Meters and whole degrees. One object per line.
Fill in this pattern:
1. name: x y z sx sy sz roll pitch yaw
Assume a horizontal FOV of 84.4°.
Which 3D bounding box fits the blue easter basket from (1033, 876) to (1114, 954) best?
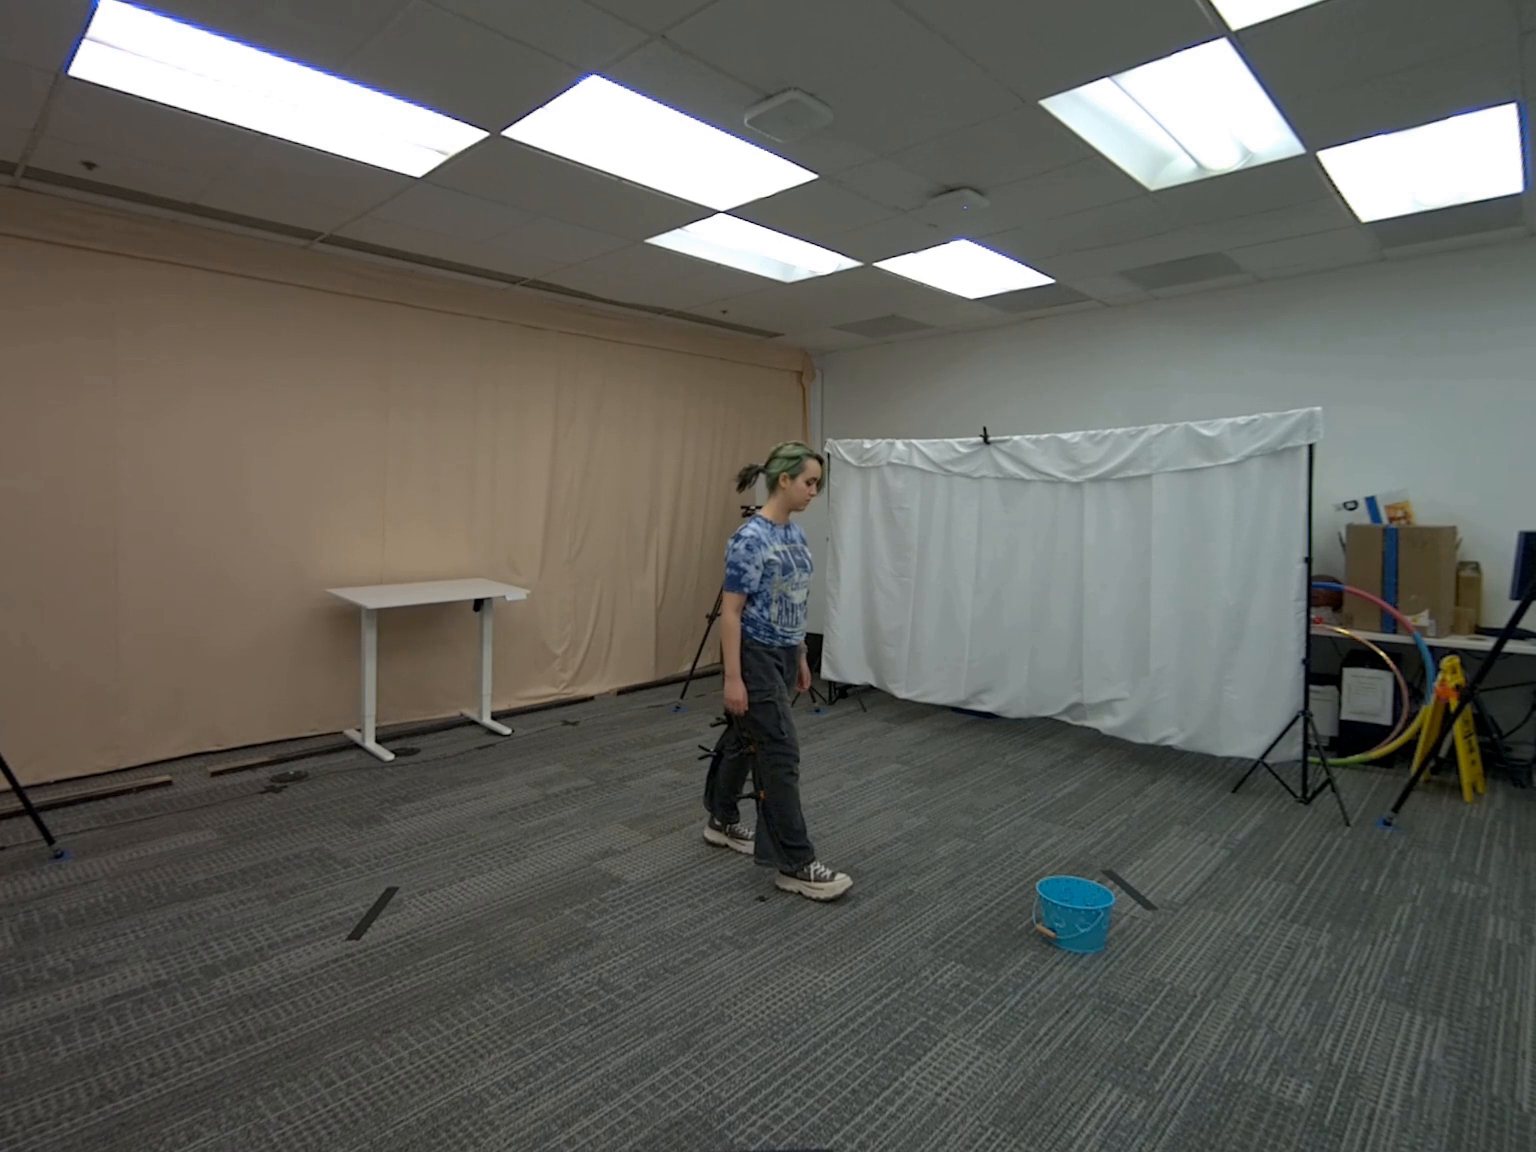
1. blue easter basket: 0.990 1.089 2.703 0.243 0.155 0.244 0 4 -2
